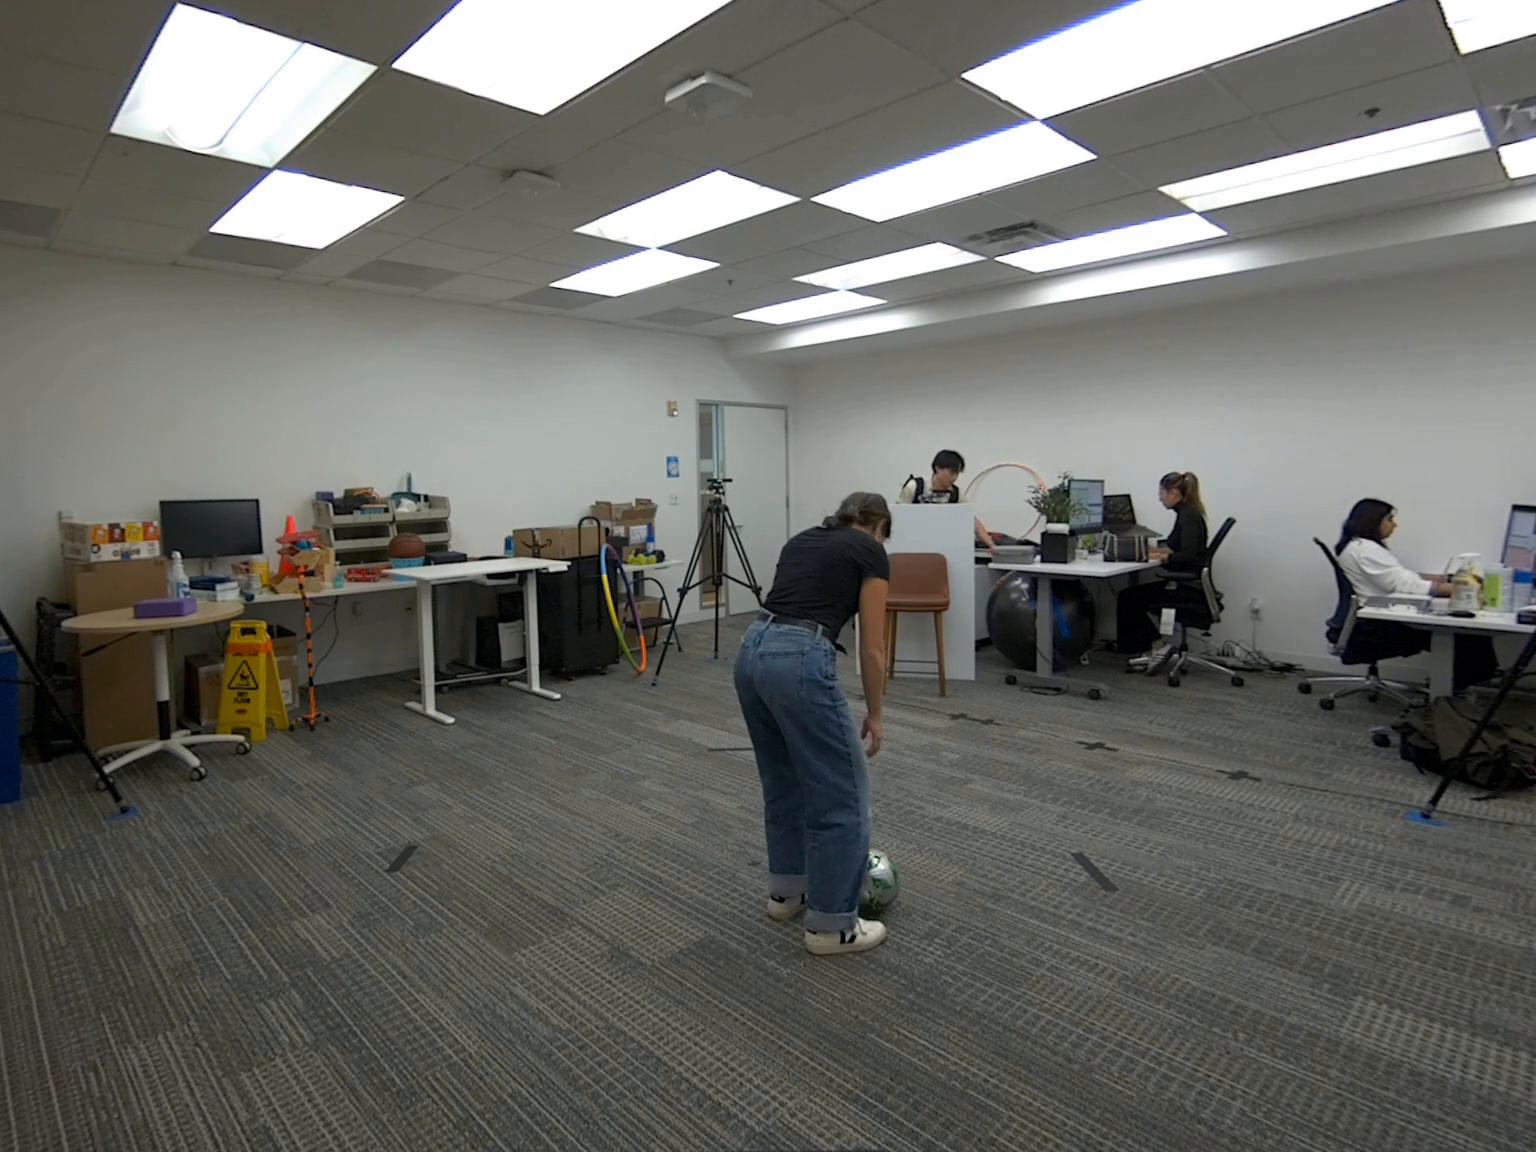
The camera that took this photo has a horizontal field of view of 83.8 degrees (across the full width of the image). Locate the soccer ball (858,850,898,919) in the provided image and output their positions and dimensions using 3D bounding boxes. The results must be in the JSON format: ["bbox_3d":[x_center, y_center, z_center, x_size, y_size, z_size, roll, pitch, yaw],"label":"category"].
[{"bbox_3d":[0.333,0.973,2.762,0.187,0.187,0.188,-1,5,-2],"label":"soccer ball"}]
